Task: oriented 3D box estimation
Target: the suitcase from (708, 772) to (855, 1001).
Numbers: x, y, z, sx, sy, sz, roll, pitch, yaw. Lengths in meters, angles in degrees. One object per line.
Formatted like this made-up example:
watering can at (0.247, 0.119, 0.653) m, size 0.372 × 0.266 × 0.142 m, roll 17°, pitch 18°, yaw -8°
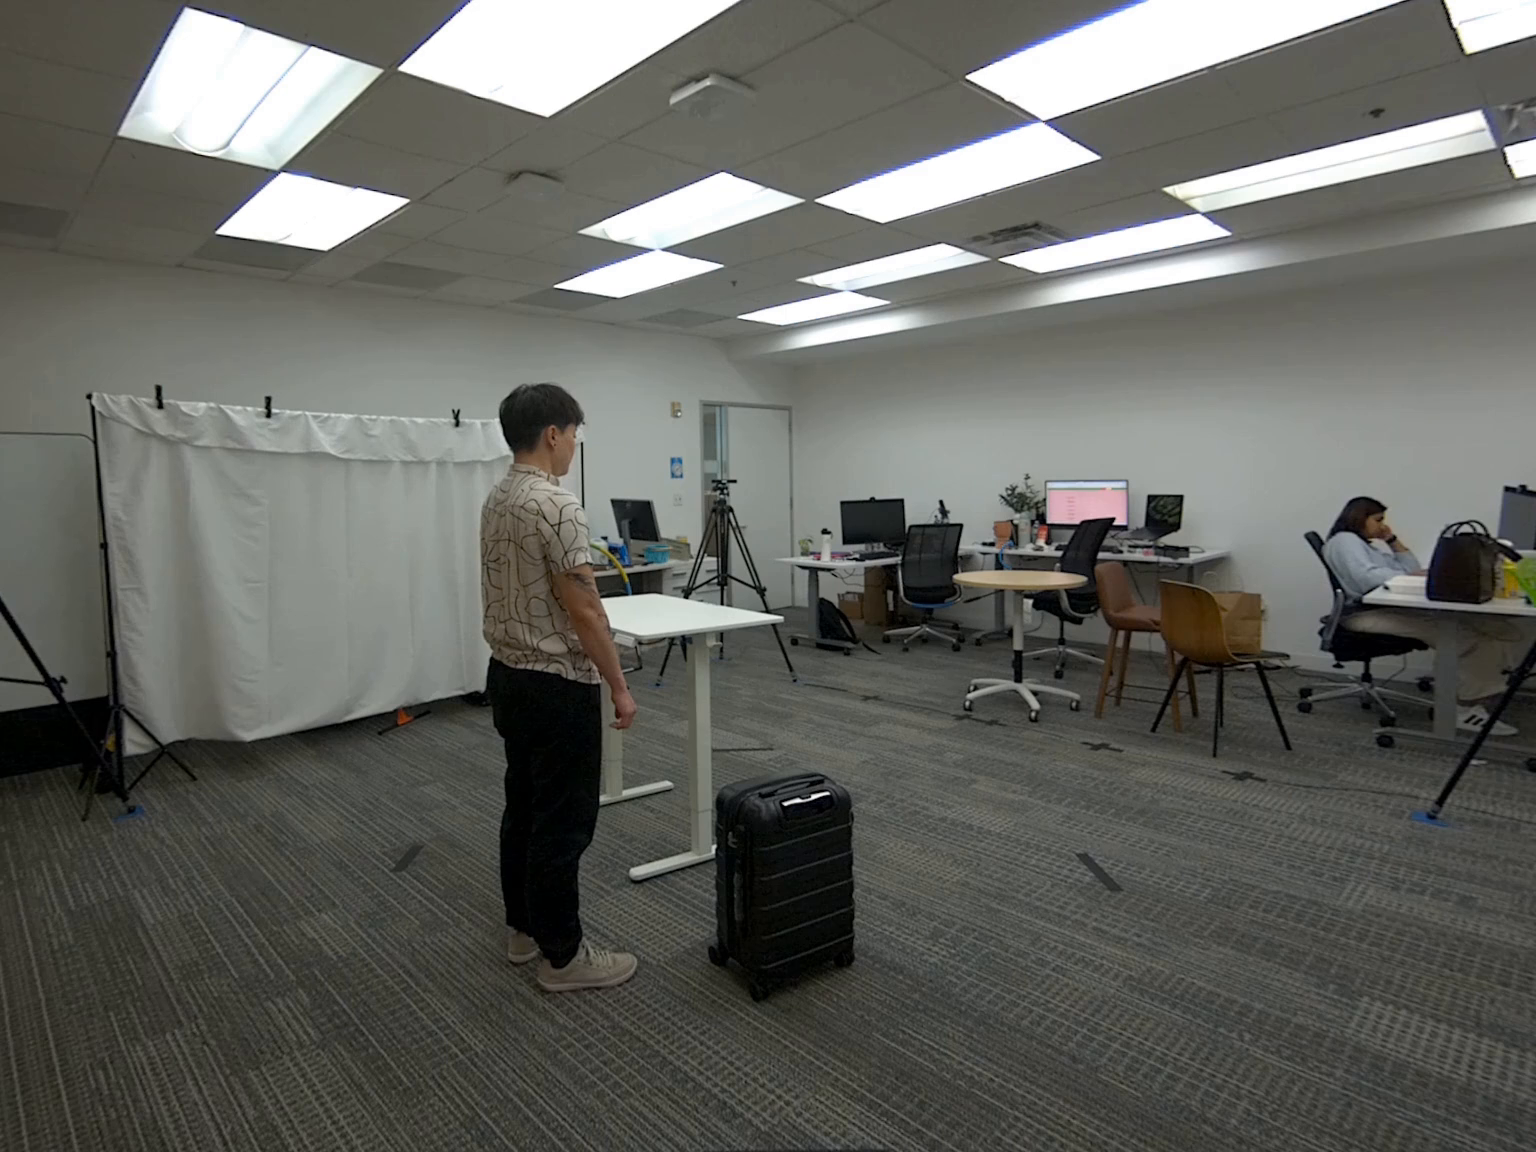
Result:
suitcase at (0.051, 0.844, 2.438) m, size 0.366 × 0.547 × 0.256 m, roll -4°, pitch 5°, yaw -35°
